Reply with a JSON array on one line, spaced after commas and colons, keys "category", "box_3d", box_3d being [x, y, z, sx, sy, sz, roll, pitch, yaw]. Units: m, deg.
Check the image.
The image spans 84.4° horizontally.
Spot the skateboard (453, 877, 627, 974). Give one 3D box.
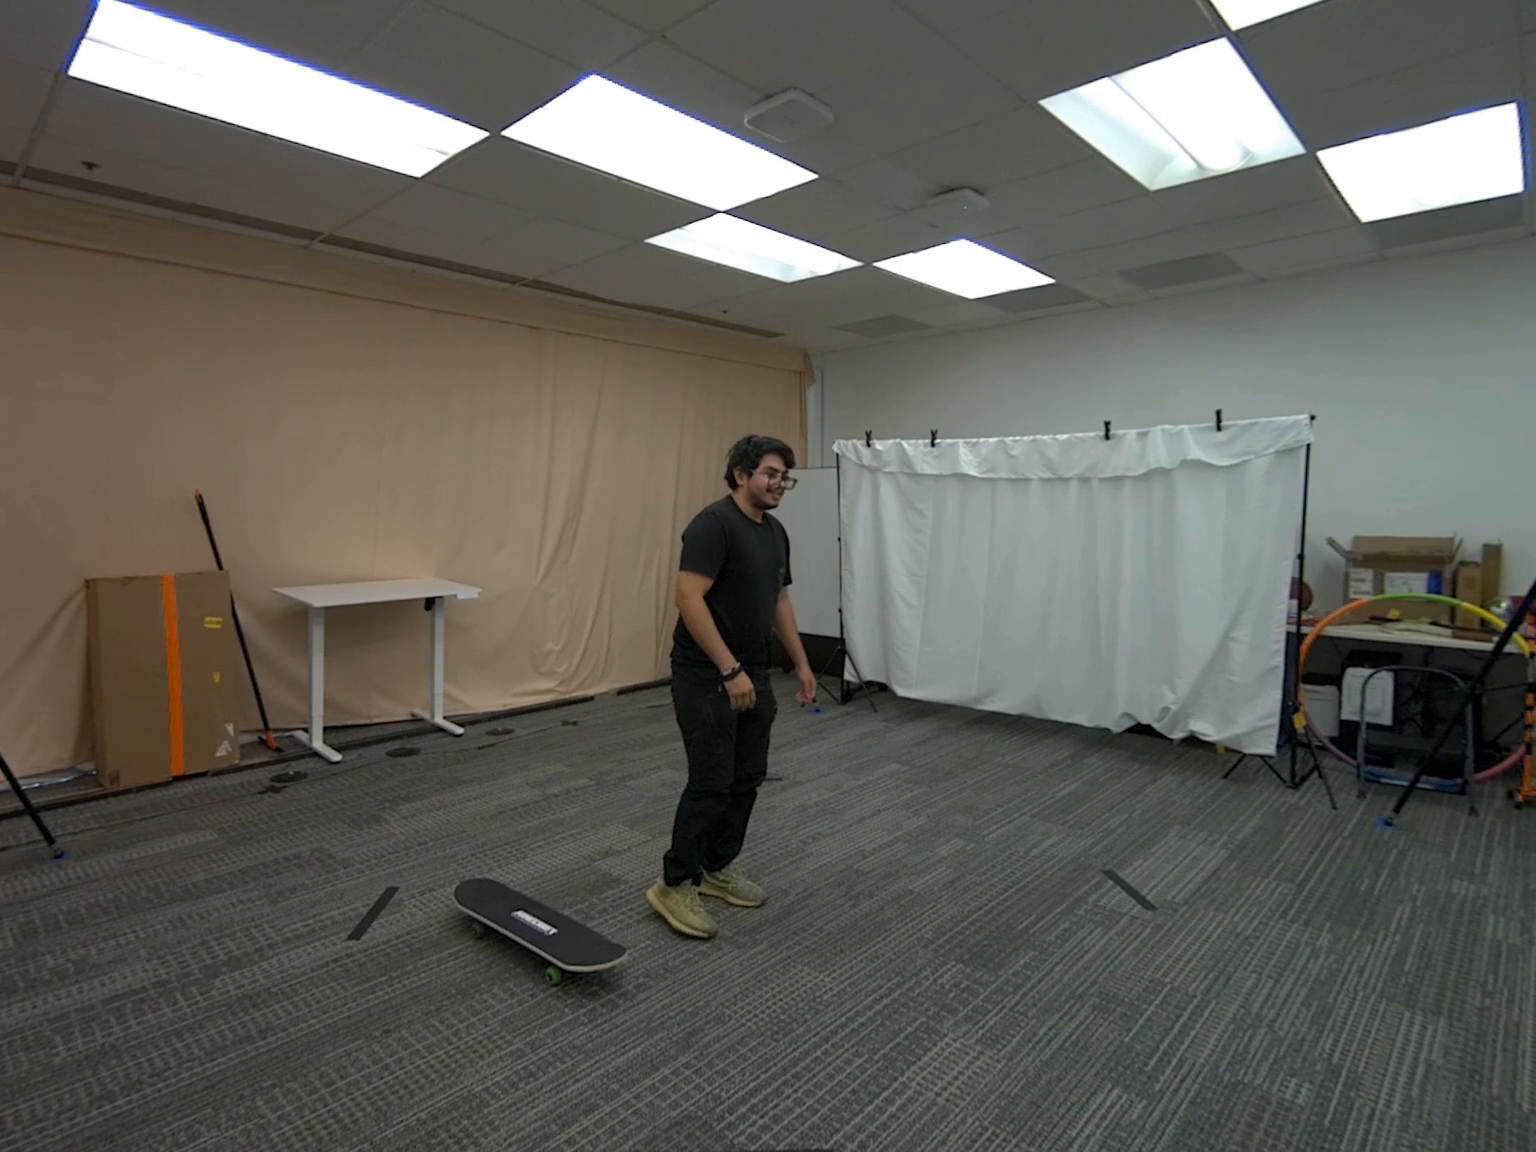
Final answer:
[{"category": "skateboard", "box_3d": [-0.736, 1.127, 2.639, 0.811, 0.110, 0.187, 2, 3, 39]}]
